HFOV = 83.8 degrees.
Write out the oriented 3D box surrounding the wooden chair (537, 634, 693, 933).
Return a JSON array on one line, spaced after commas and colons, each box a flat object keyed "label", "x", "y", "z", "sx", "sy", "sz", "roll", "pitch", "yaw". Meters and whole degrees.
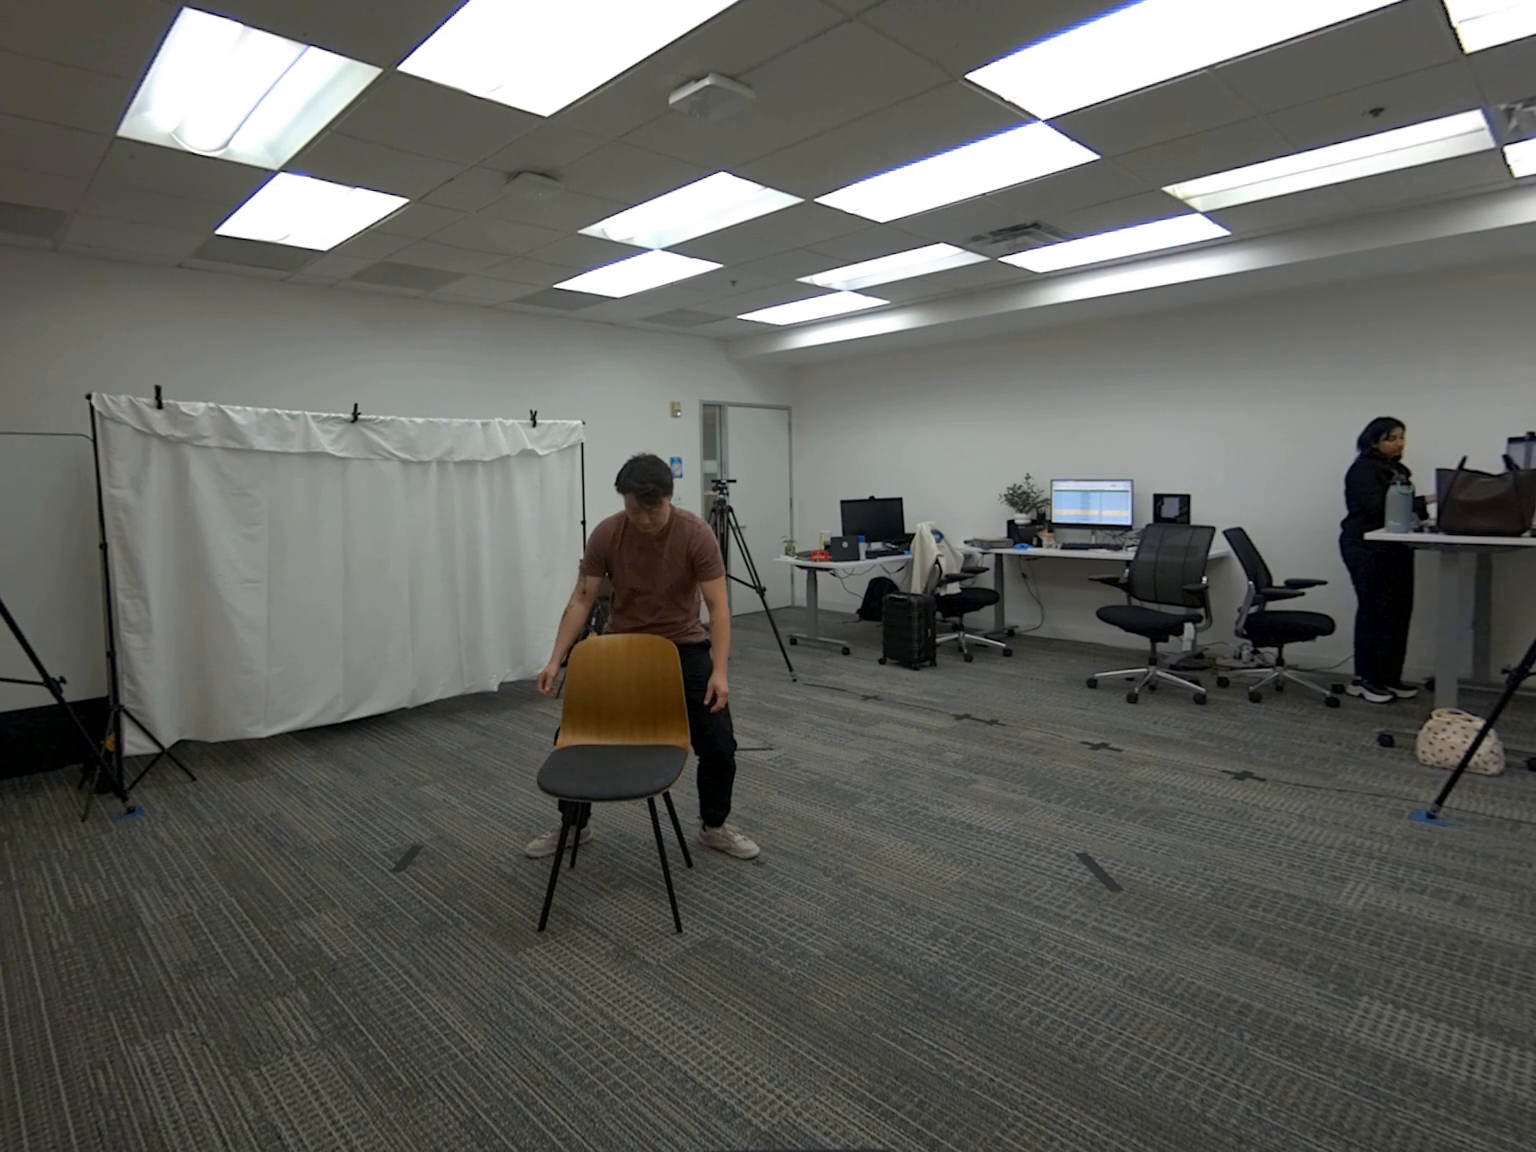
[{"label": "wooden chair", "x": -0.494, "y": 0.663, "z": 2.833, "sx": 0.479, "sy": 0.877, "sz": 0.522, "roll": 0, "pitch": 0, "yaw": 1}]
